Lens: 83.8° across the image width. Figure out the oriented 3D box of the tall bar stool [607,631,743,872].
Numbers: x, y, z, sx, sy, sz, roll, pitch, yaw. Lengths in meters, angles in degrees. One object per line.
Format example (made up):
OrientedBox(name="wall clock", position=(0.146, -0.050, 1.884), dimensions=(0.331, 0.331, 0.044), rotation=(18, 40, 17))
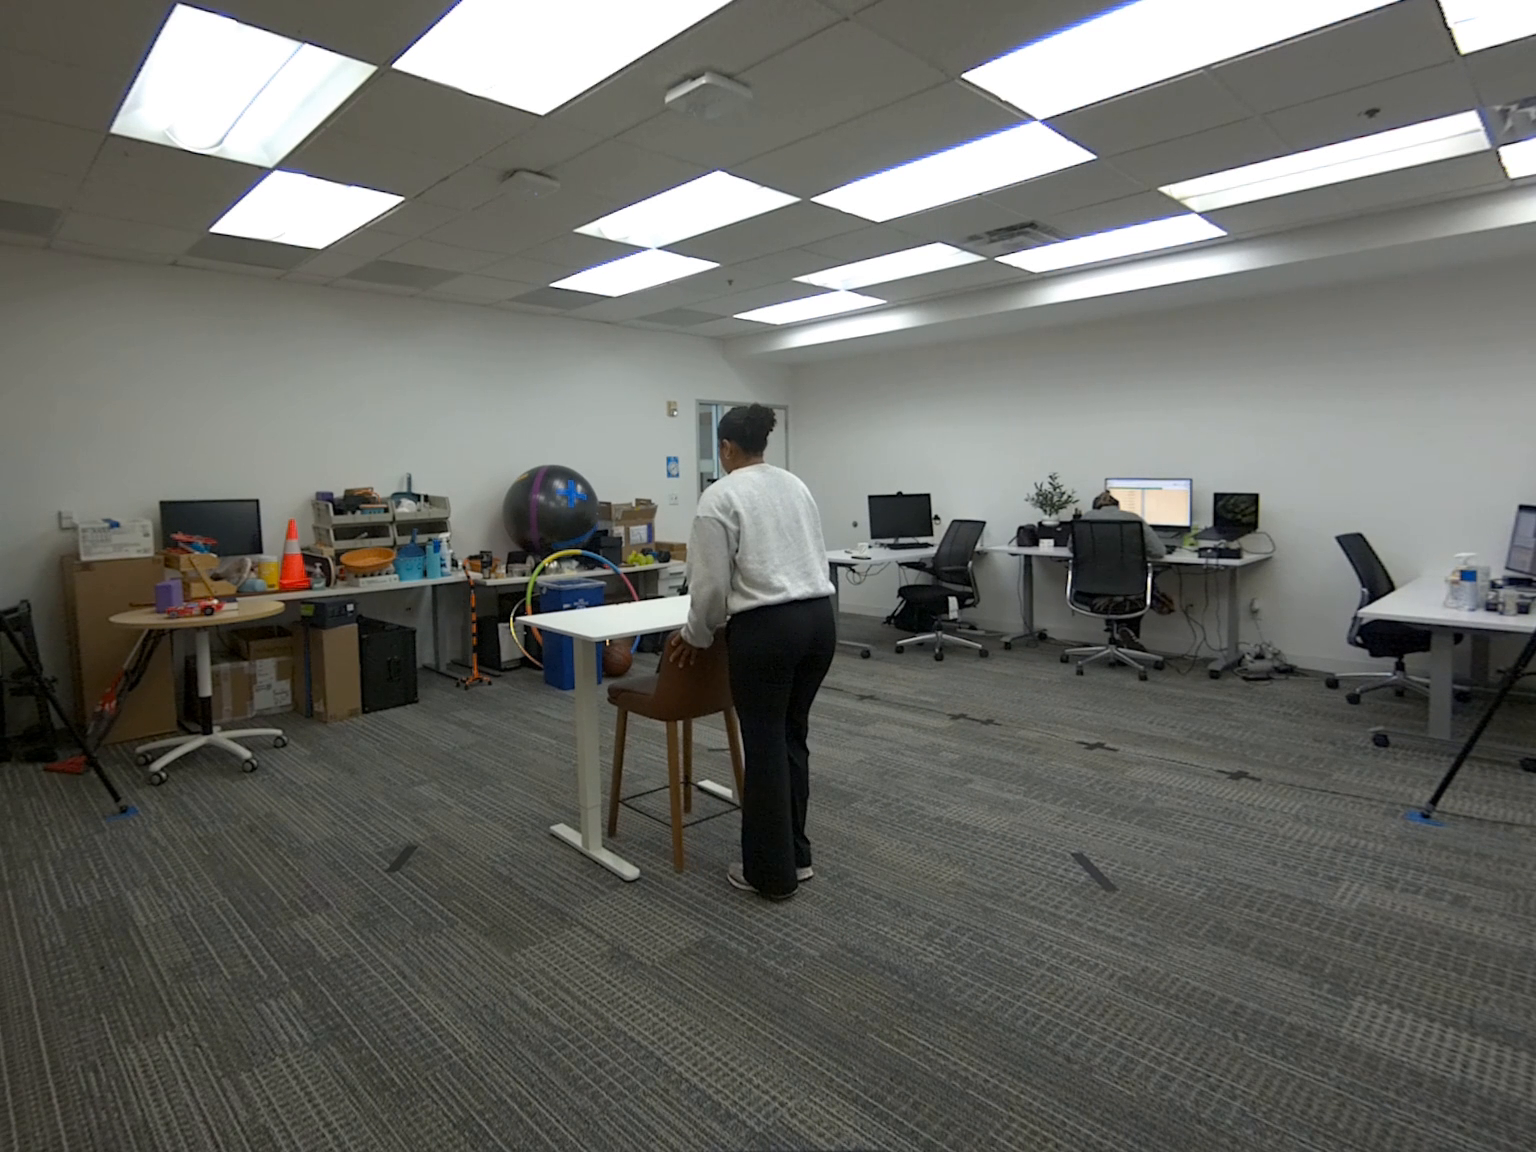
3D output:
OrientedBox(name="tall bar stool", position=(-0.332, 0.596, 3.294), dimensions=(0.444, 0.885, 0.482), rotation=(-4, 8, -41))
